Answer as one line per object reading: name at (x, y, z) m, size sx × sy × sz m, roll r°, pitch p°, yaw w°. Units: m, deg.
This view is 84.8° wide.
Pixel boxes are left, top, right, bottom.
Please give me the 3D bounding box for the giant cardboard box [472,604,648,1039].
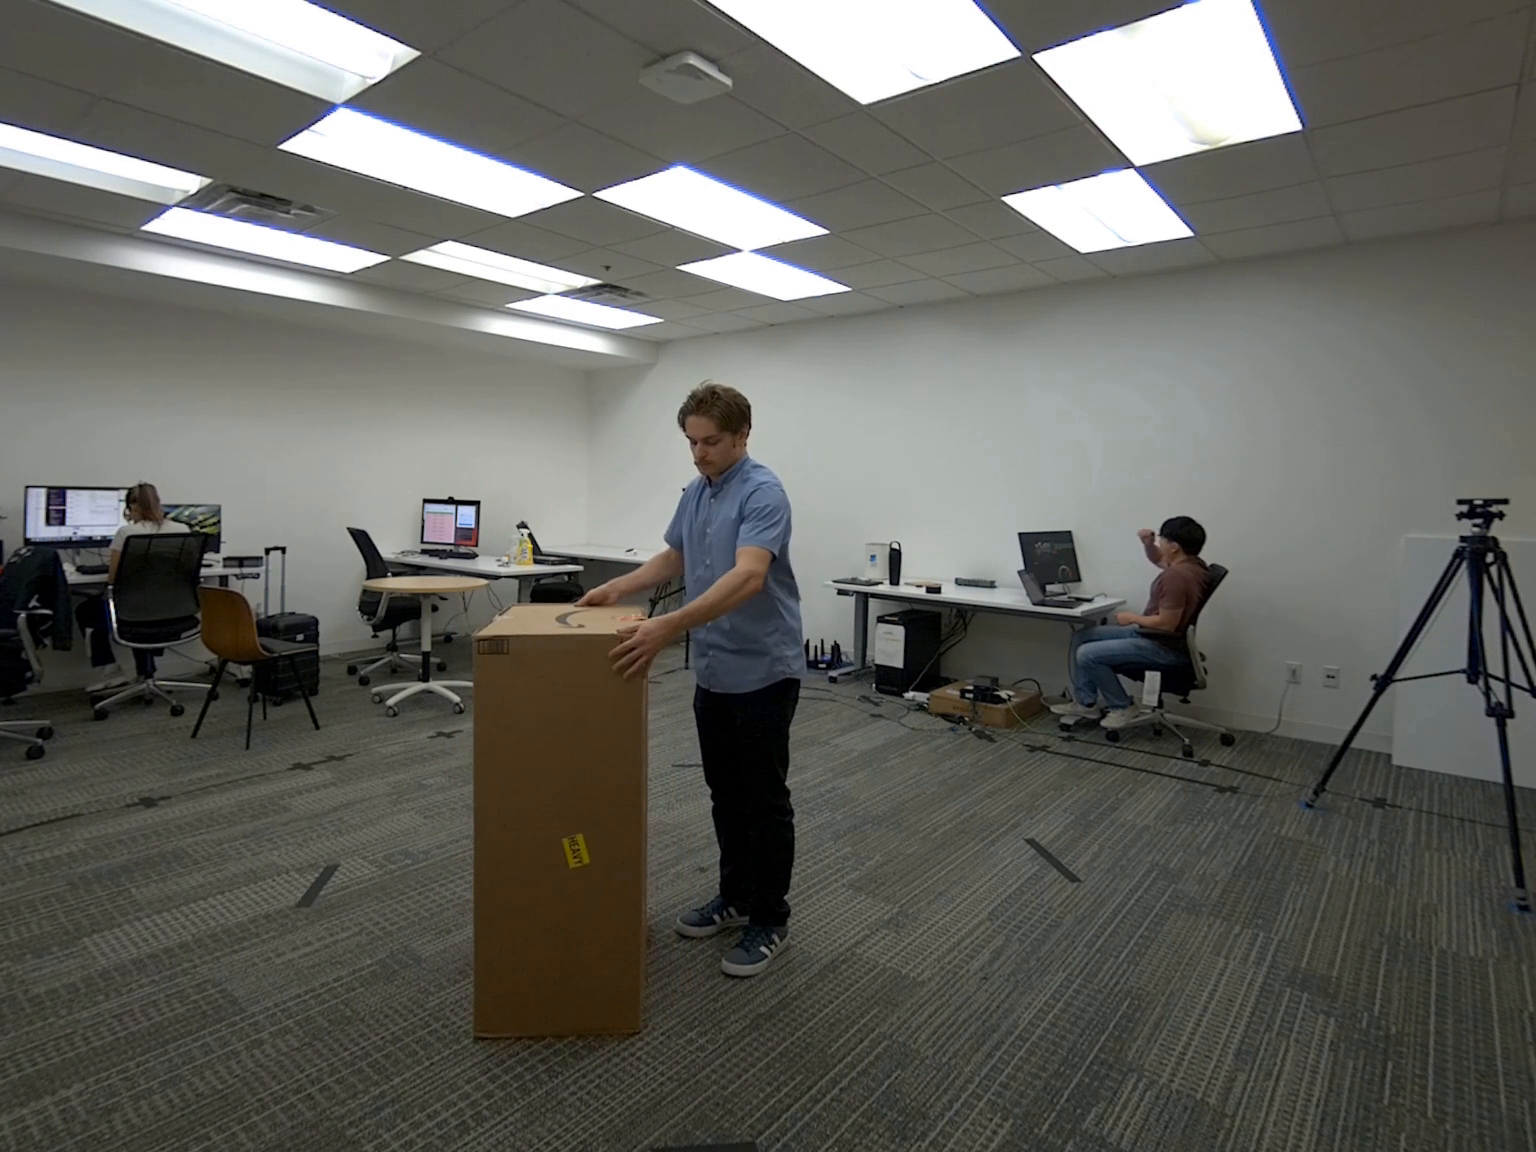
giant cardboard box at (-0.570, 0.628, 2.399) m, size 0.423 × 1.023 × 0.583 m, roll 0°, pitch 3°, yaw -7°
